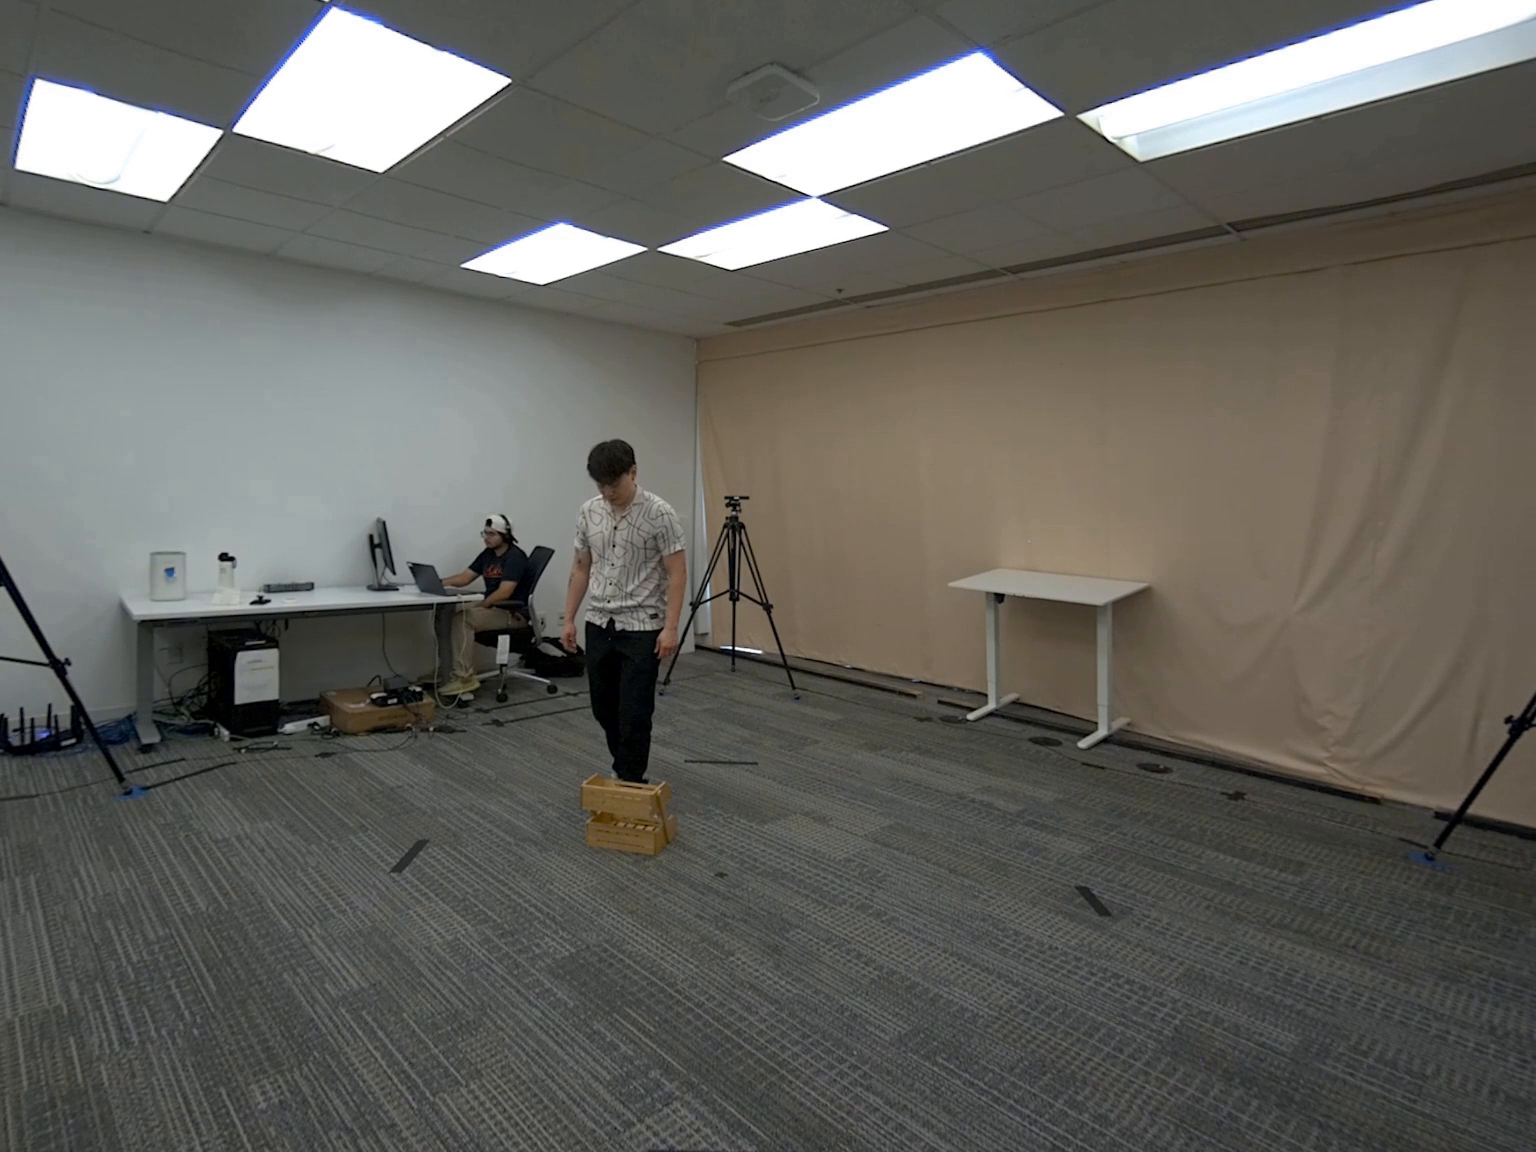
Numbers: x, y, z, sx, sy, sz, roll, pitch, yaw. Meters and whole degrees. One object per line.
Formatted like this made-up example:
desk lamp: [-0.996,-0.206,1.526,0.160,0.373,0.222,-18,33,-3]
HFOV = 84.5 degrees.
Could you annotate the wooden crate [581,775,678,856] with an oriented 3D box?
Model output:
wooden crate: [-0.561,0.936,3.387,0.329,0.272,0.299,3,5,15]
